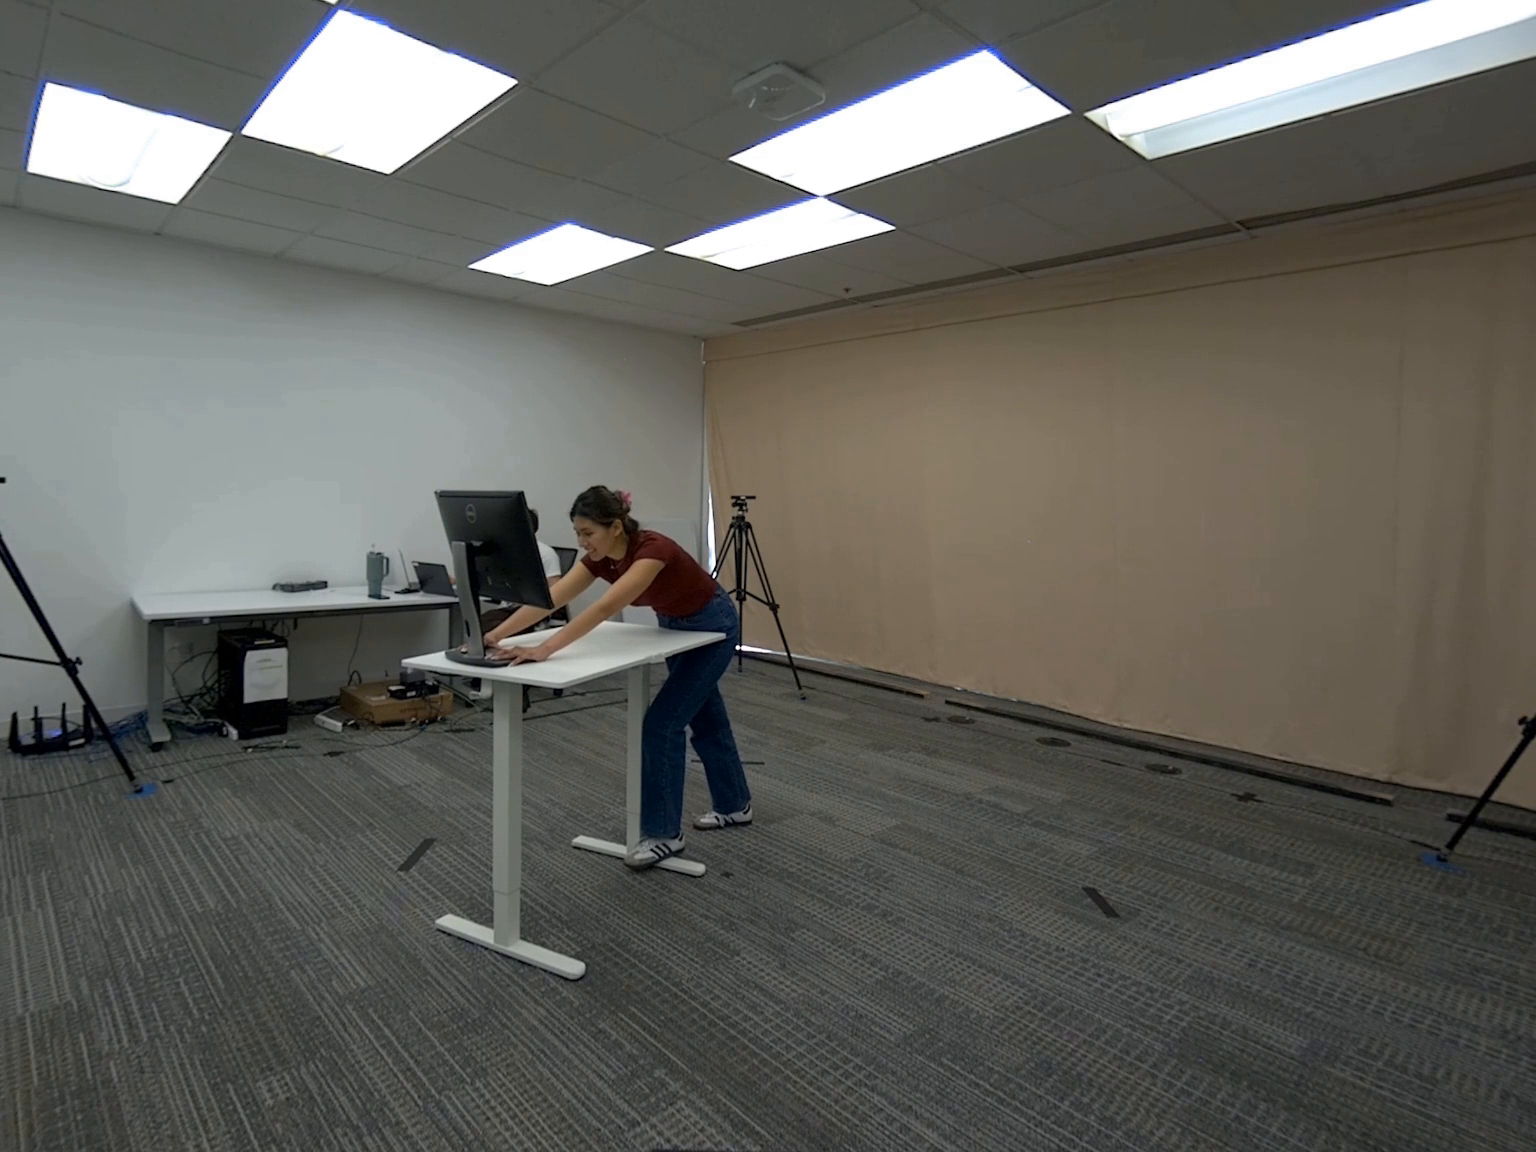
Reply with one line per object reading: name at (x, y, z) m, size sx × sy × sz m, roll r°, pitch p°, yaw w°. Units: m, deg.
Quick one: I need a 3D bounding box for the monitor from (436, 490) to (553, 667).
monitor at (-0.862, 0.000, 2.547) m, size 0.552 × 0.521 × 0.183 m, roll 3°, pitch 6°, yaw 39°
